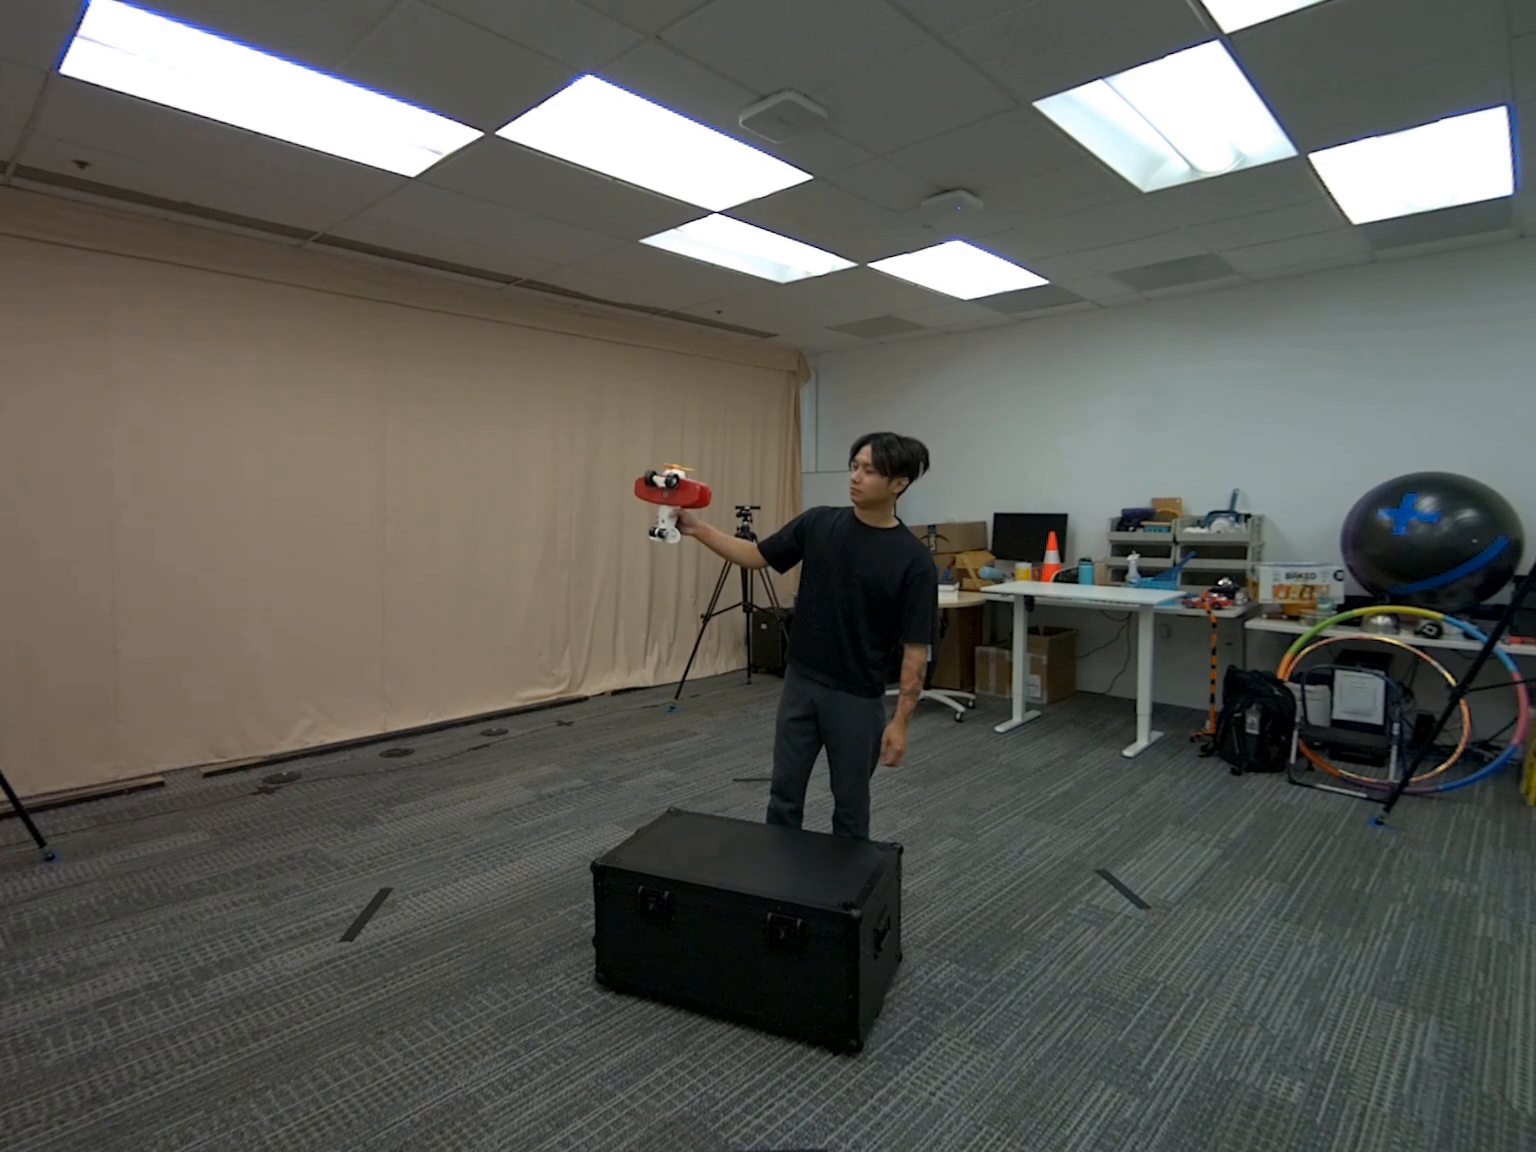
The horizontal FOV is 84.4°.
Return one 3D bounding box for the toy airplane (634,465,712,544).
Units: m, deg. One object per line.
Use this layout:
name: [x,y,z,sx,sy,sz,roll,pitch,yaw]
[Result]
toy airplane: [-0.340,-0.248,2.827,0.257,0.259,0.153,38,24,17]
